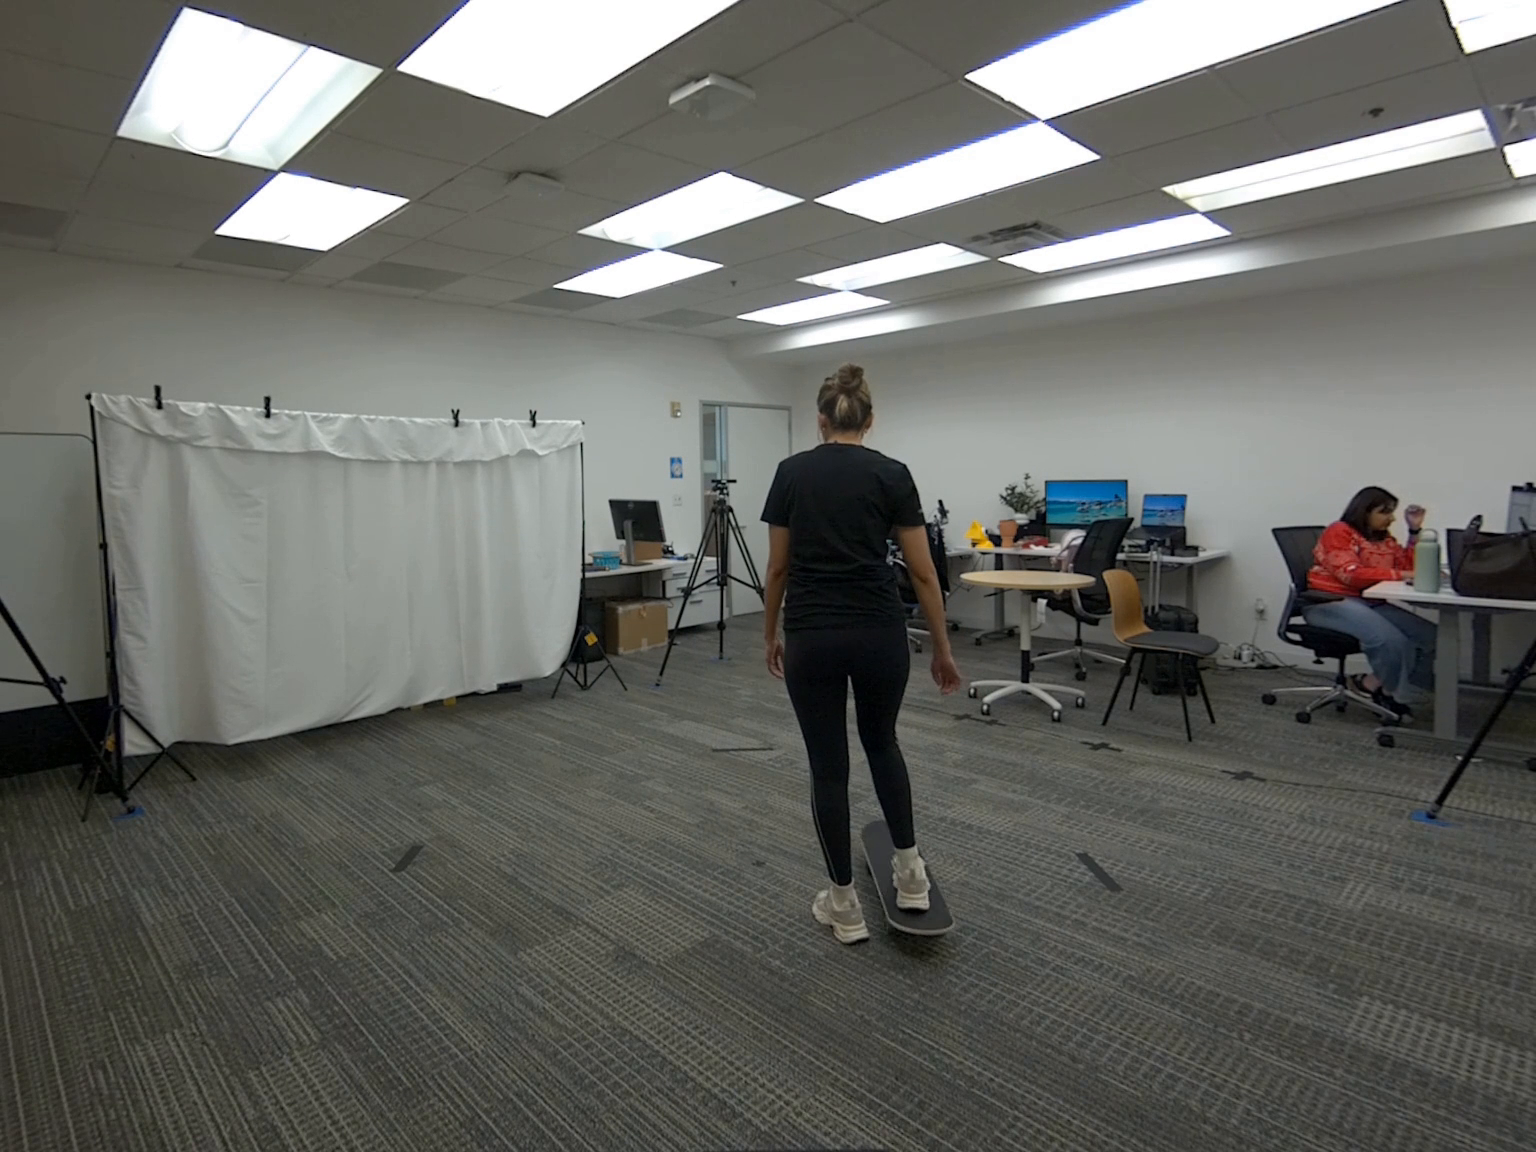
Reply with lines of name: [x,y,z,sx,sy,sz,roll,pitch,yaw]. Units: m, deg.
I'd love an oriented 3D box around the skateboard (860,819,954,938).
skateboard: [0.439,1.014,2.824,0.193,0.110,0.789,-1,6,-1]
